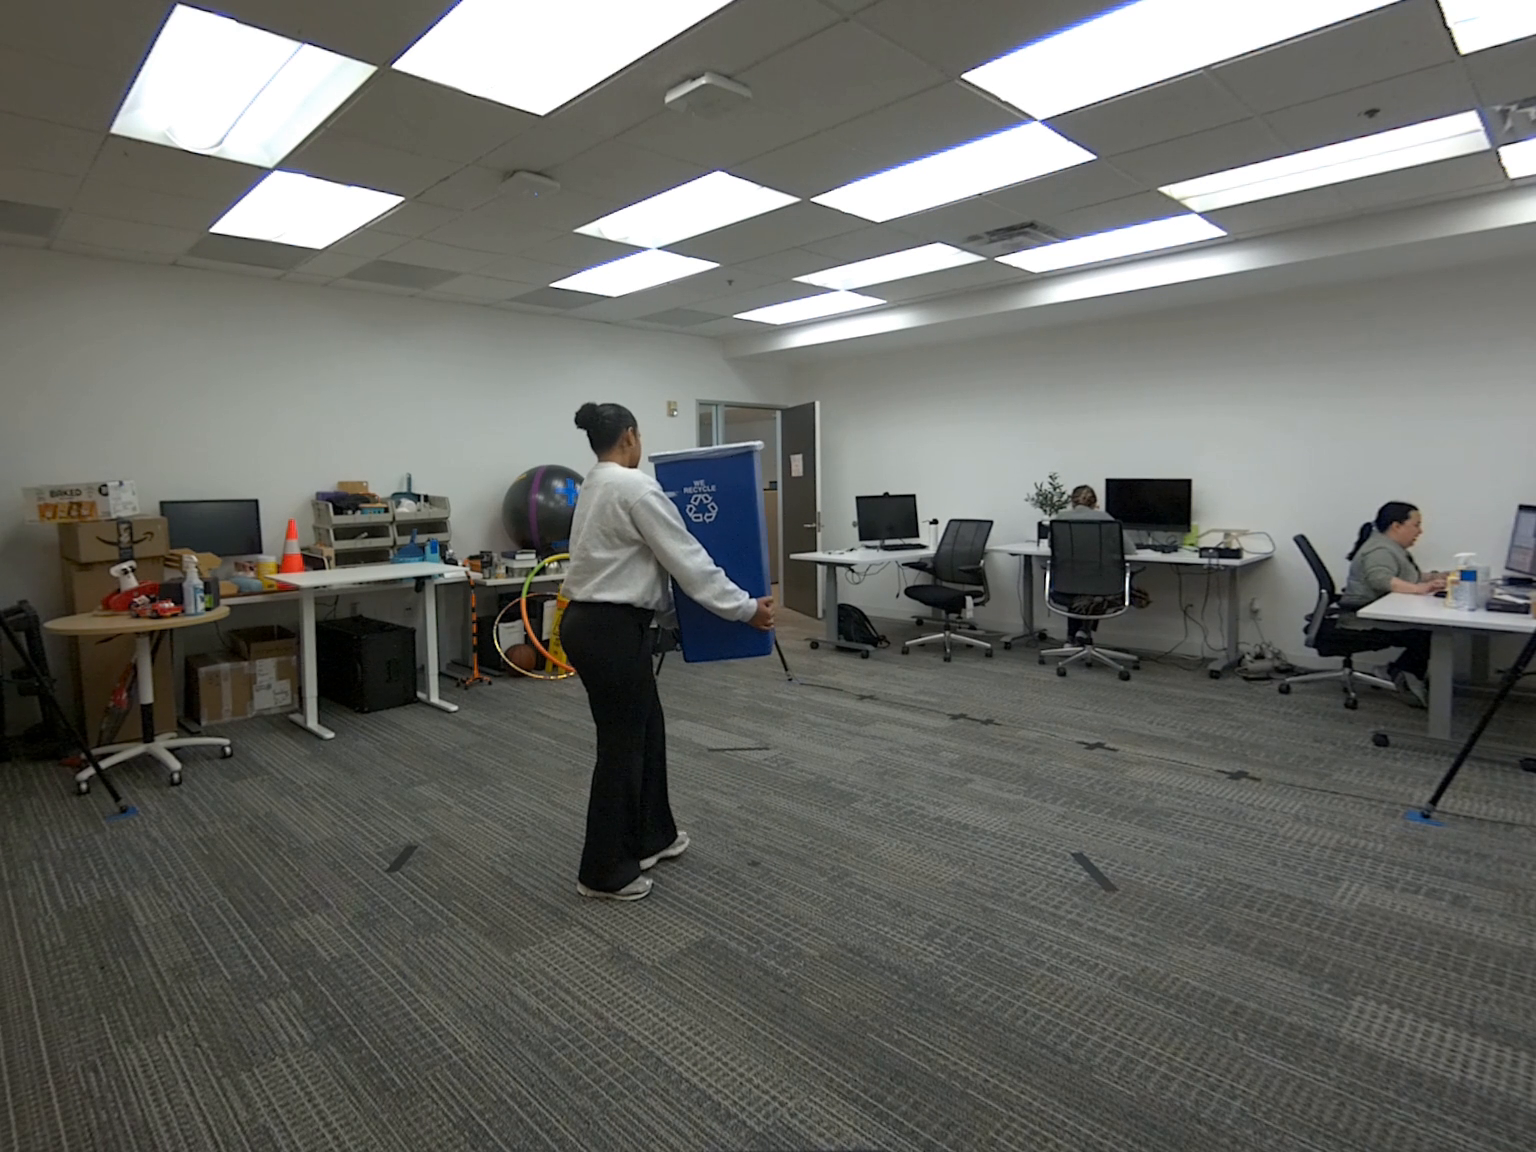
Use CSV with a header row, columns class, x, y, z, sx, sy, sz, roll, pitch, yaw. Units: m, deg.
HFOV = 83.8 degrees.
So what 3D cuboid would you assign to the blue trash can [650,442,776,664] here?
class,x,y,z,sx,sy,sz,roll,pitch,yaw
blue trash can,-0.170,-0.094,2.984,0.378,0.709,0.376,-7,6,-1
